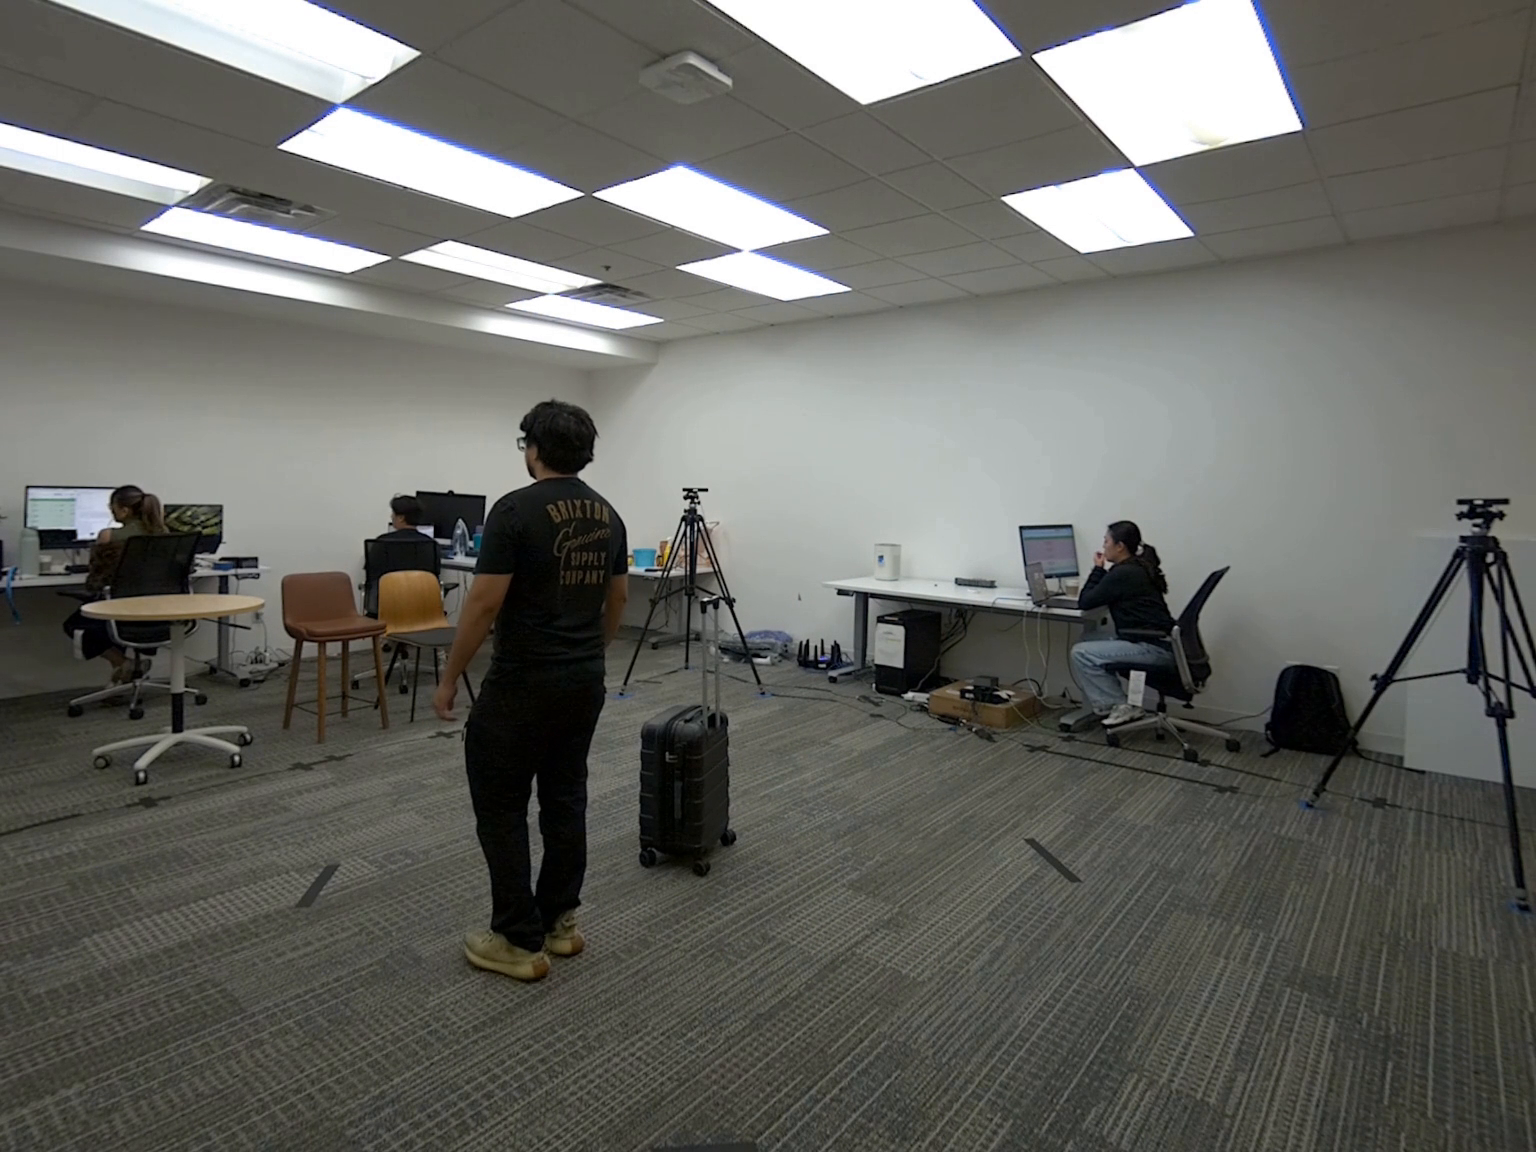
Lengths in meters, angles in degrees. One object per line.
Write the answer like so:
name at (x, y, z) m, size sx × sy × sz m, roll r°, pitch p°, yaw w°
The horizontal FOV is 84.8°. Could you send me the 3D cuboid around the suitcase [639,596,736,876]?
suitcase at (-0.330, 0.581, 3.231) m, size 0.262 × 0.978 × 0.377 m, roll -2°, pitch 1°, yaw 17°
